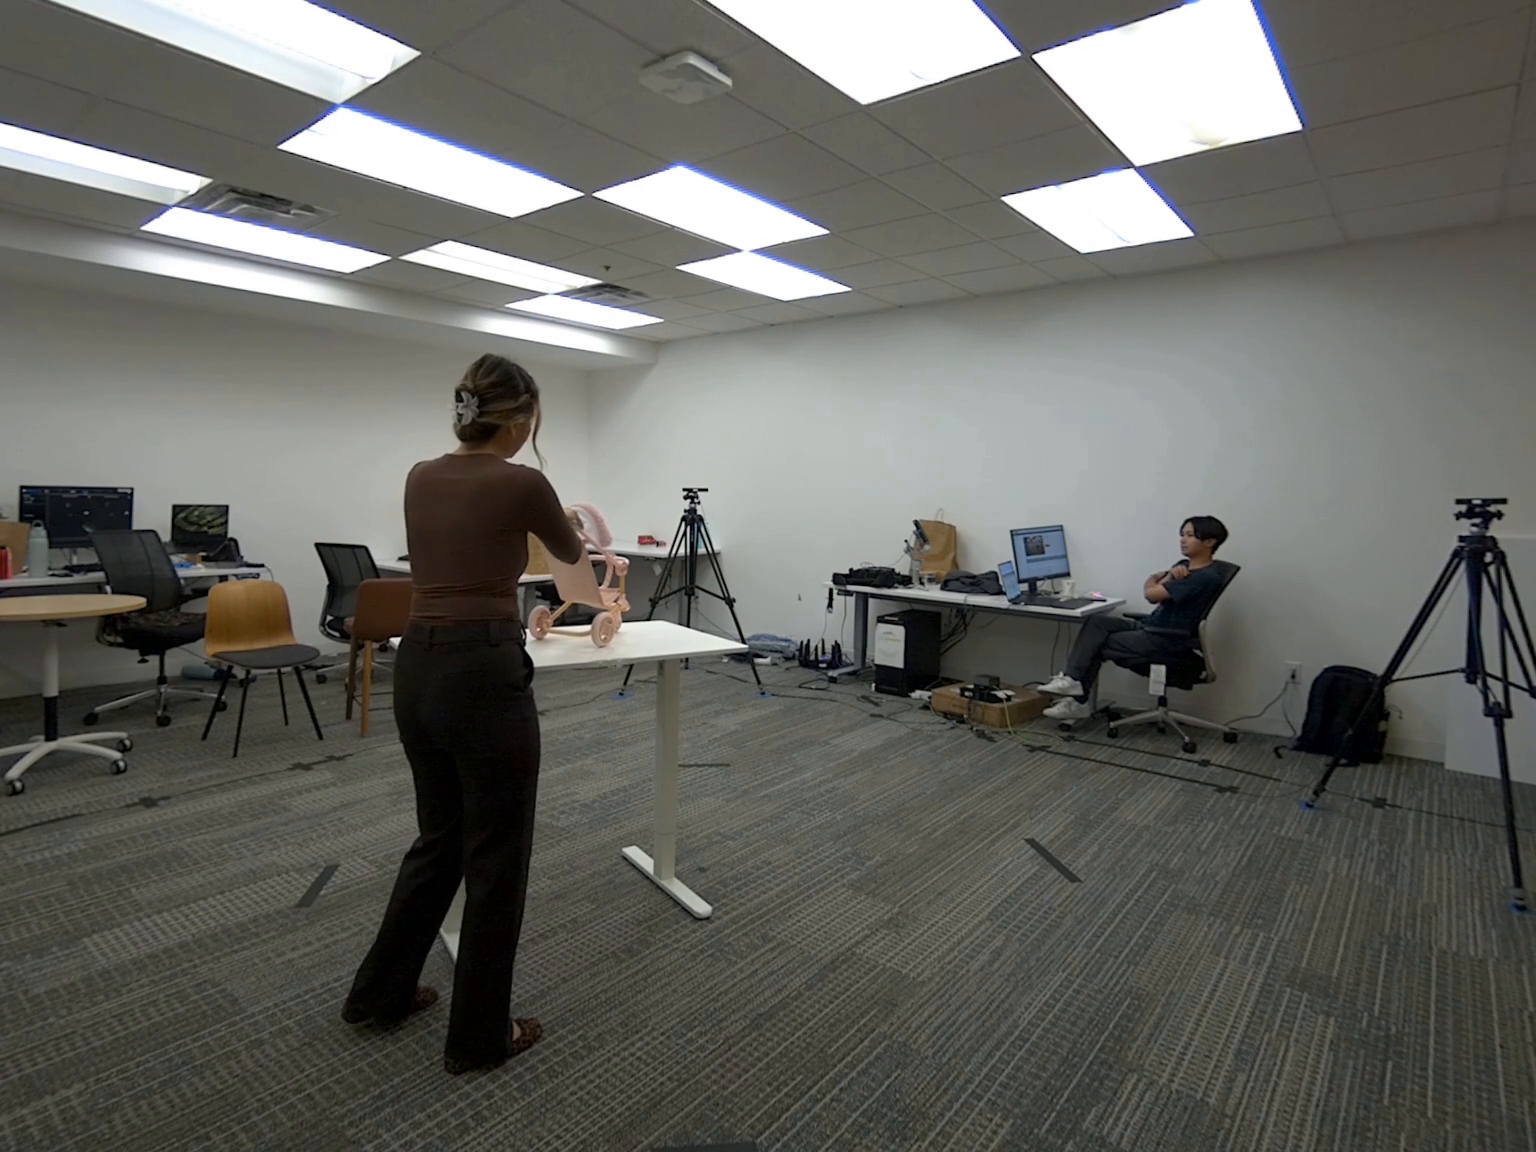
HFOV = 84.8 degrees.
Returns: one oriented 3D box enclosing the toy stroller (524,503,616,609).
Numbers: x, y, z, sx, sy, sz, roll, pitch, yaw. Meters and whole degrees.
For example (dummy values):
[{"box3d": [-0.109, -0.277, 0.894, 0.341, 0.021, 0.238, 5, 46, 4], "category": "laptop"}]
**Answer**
[{"box3d": [-0.614, -0.009, 2.791, 0.290, 0.525, 0.338, 5, 21, 28], "category": "toy stroller"}]
